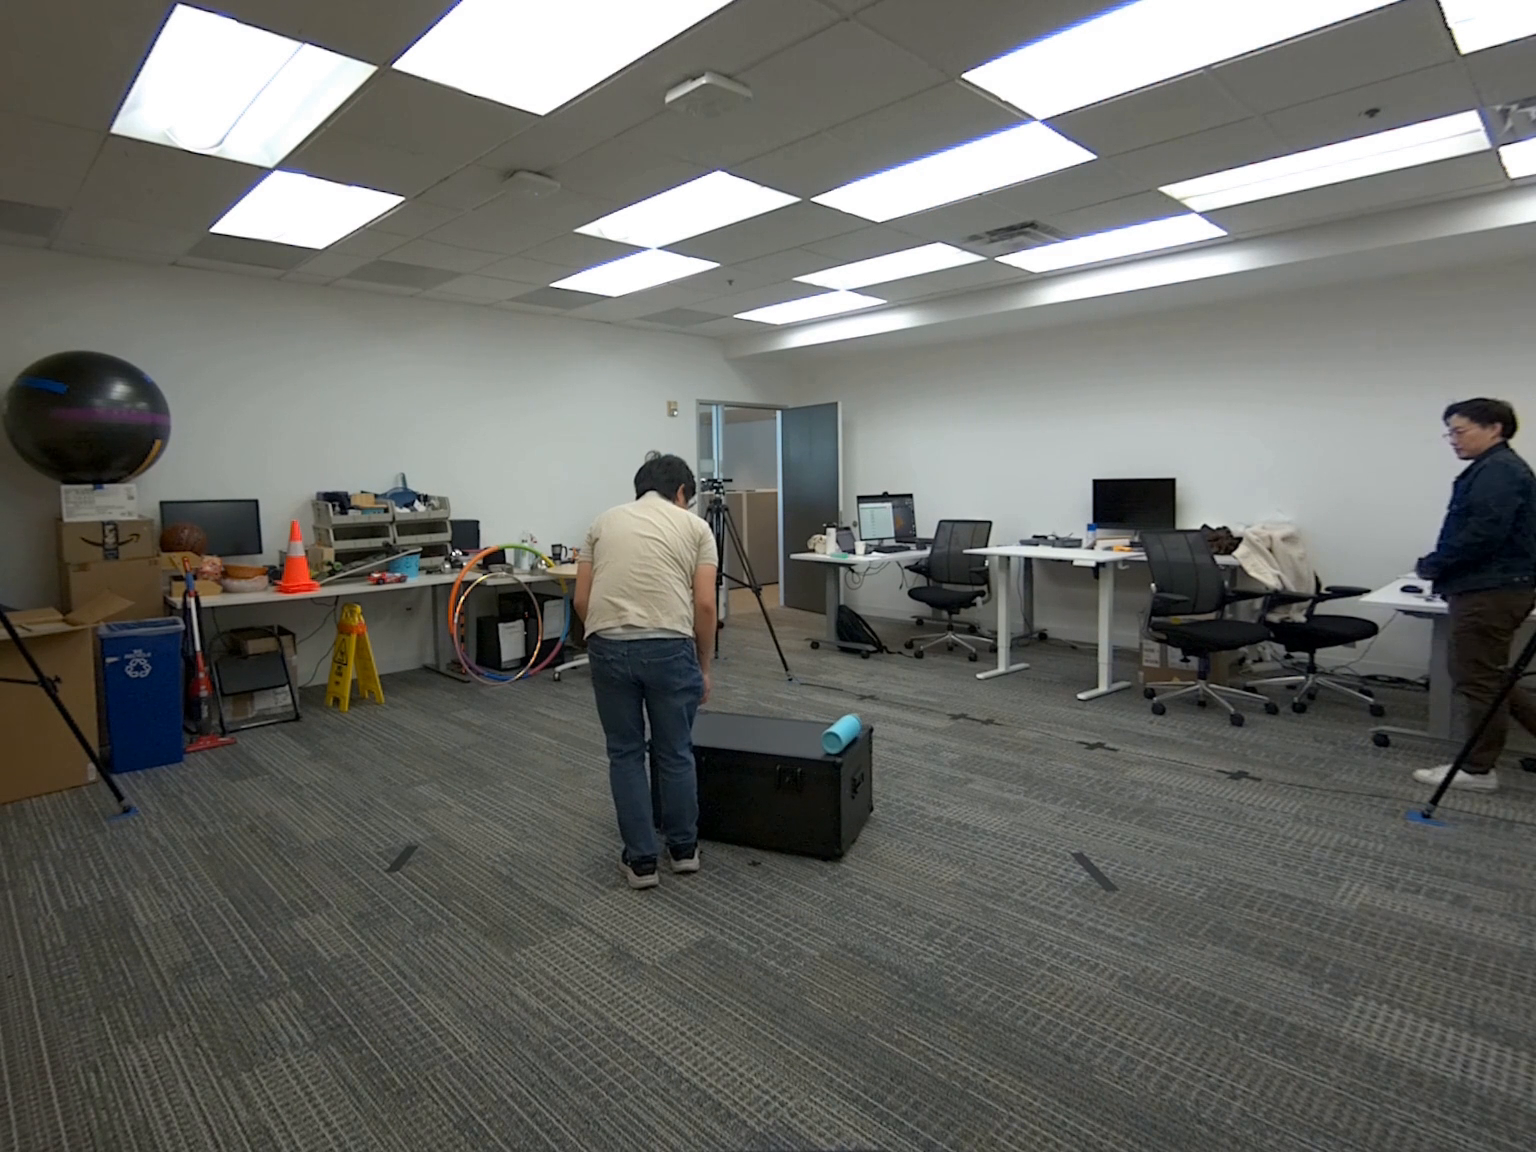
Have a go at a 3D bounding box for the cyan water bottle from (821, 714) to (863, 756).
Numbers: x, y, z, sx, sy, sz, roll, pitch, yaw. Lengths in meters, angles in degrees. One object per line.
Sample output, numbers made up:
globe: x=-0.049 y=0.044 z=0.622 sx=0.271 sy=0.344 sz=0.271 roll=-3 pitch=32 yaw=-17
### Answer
cyan water bottle: x=0.286 y=0.593 z=3.271 sx=0.094 sy=0.092 sz=0.278 roll=1 pitch=6 yaw=23
